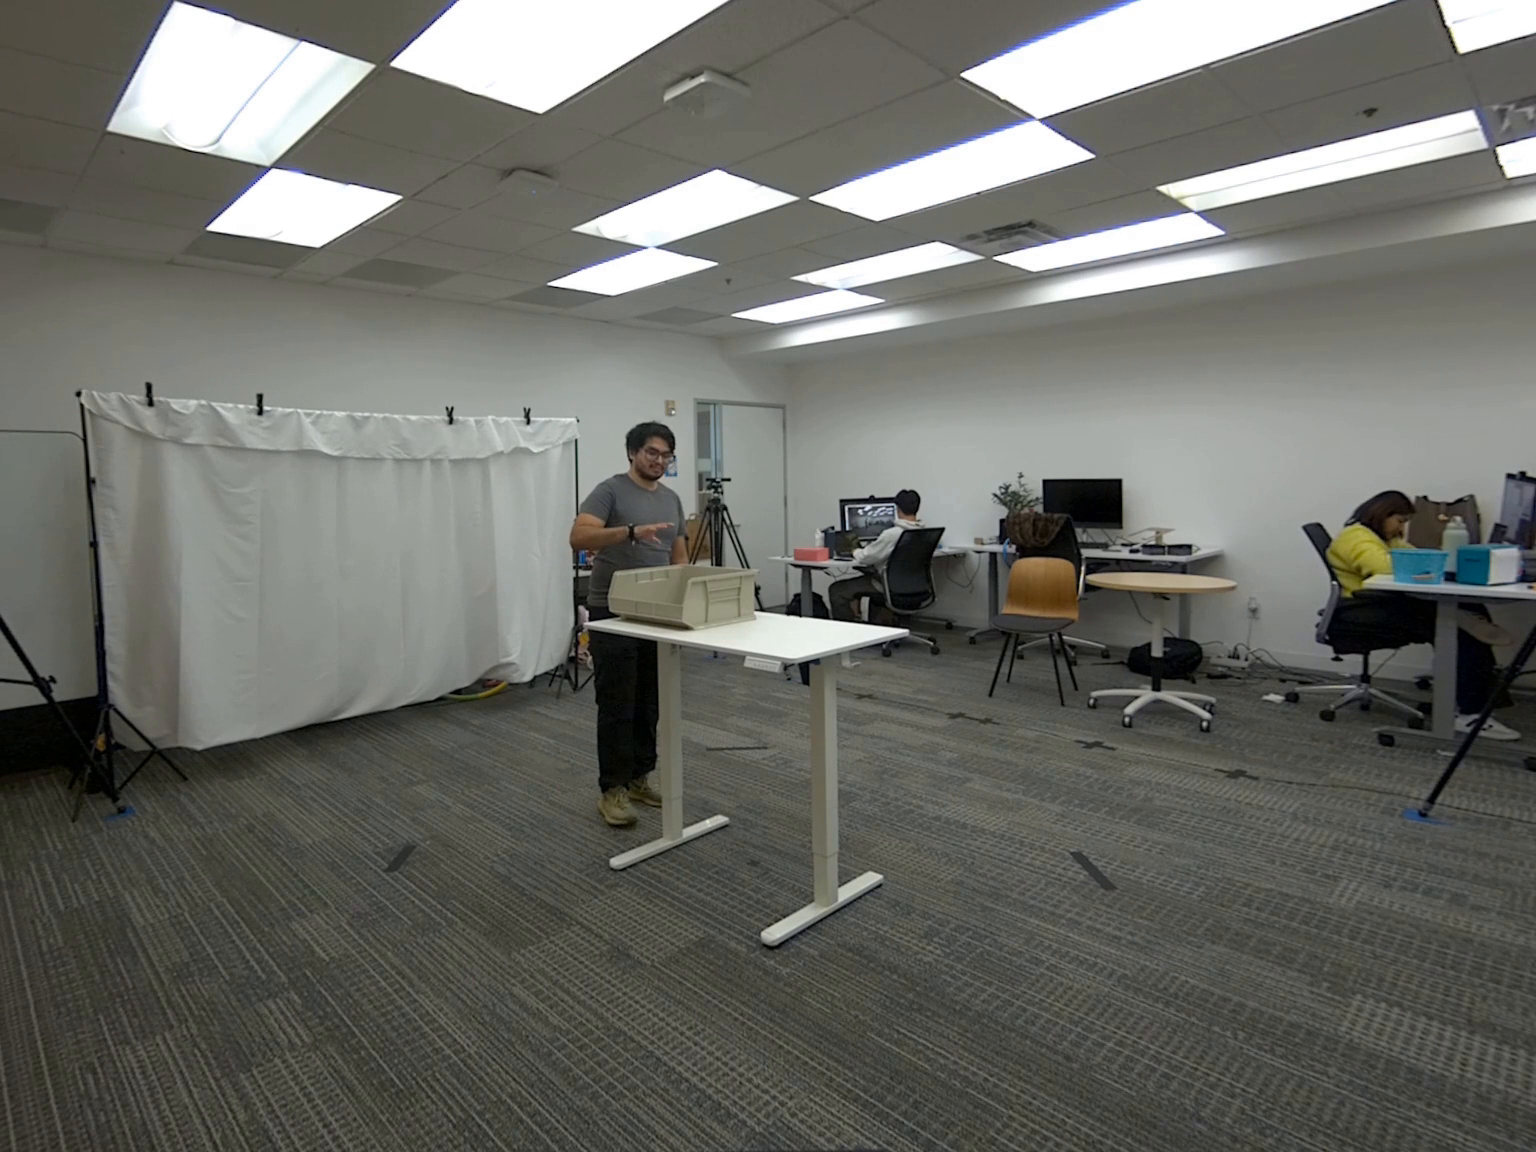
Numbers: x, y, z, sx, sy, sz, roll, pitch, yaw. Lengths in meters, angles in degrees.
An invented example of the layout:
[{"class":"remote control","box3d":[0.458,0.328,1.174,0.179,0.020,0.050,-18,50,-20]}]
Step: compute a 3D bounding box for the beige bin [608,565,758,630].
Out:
[{"class":"beige bin","box3d":[-0.311,0.074,3.135,0.435,0.188,0.367,4,6,44]}]
